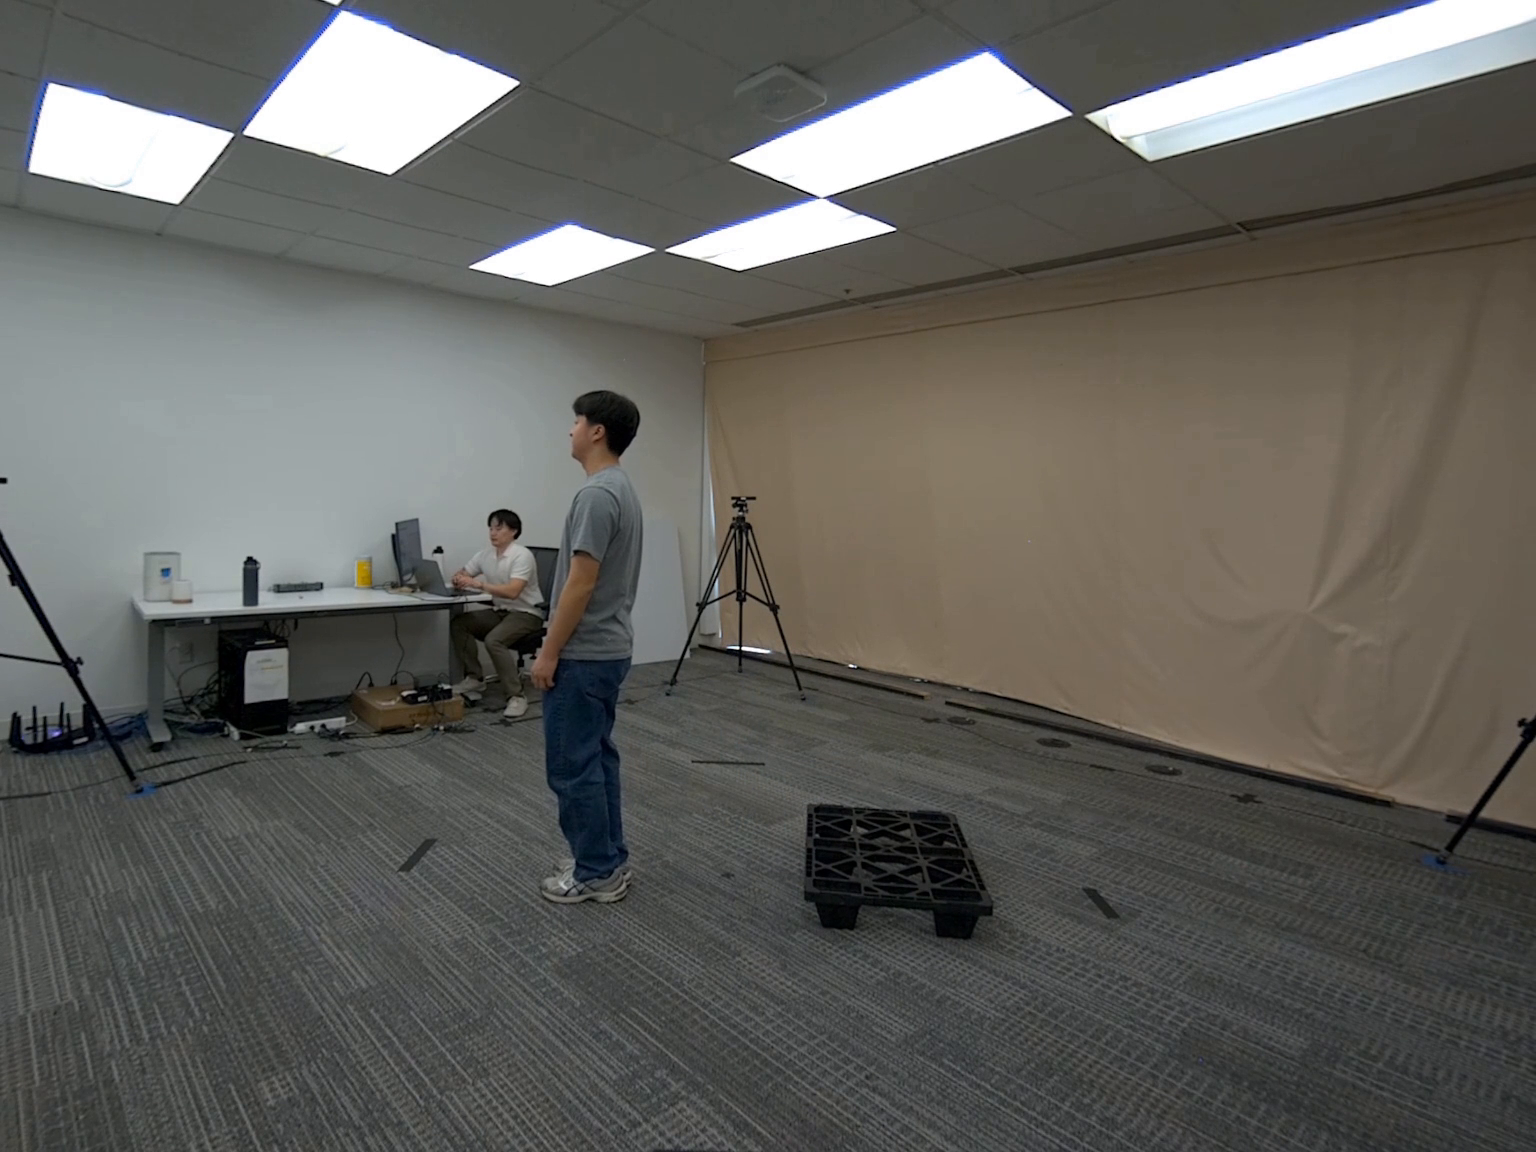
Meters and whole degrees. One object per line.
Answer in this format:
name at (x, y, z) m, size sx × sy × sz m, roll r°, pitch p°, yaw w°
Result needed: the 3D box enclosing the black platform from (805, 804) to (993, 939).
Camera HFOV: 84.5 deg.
black platform at (0.428, 1.055, 3.073) m, size 0.608 × 0.143 × 0.805 m, roll 1°, pitch 5°, yaw 4°
